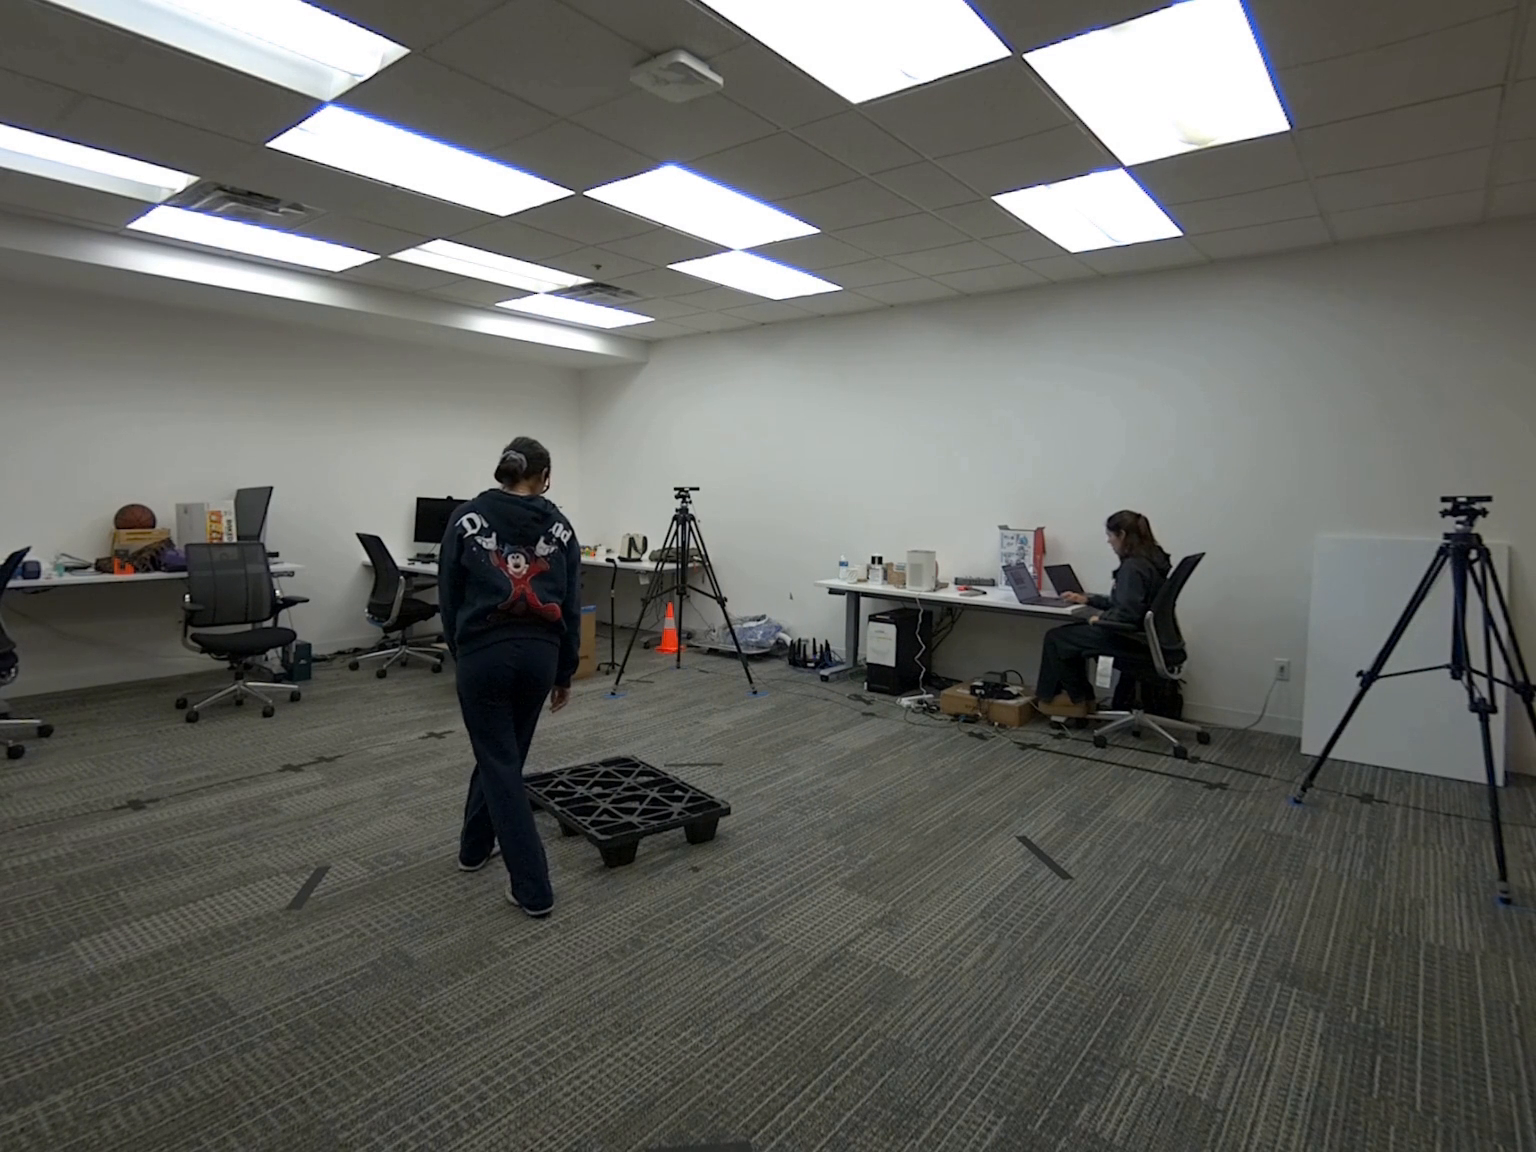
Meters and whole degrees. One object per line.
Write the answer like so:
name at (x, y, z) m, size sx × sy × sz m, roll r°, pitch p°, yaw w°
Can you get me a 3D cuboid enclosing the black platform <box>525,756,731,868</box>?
black platform at (-0.636, 0.952, 3.516) m, size 0.587 × 0.143 × 0.833 m, roll -4°, pitch 7°, yaw -38°
